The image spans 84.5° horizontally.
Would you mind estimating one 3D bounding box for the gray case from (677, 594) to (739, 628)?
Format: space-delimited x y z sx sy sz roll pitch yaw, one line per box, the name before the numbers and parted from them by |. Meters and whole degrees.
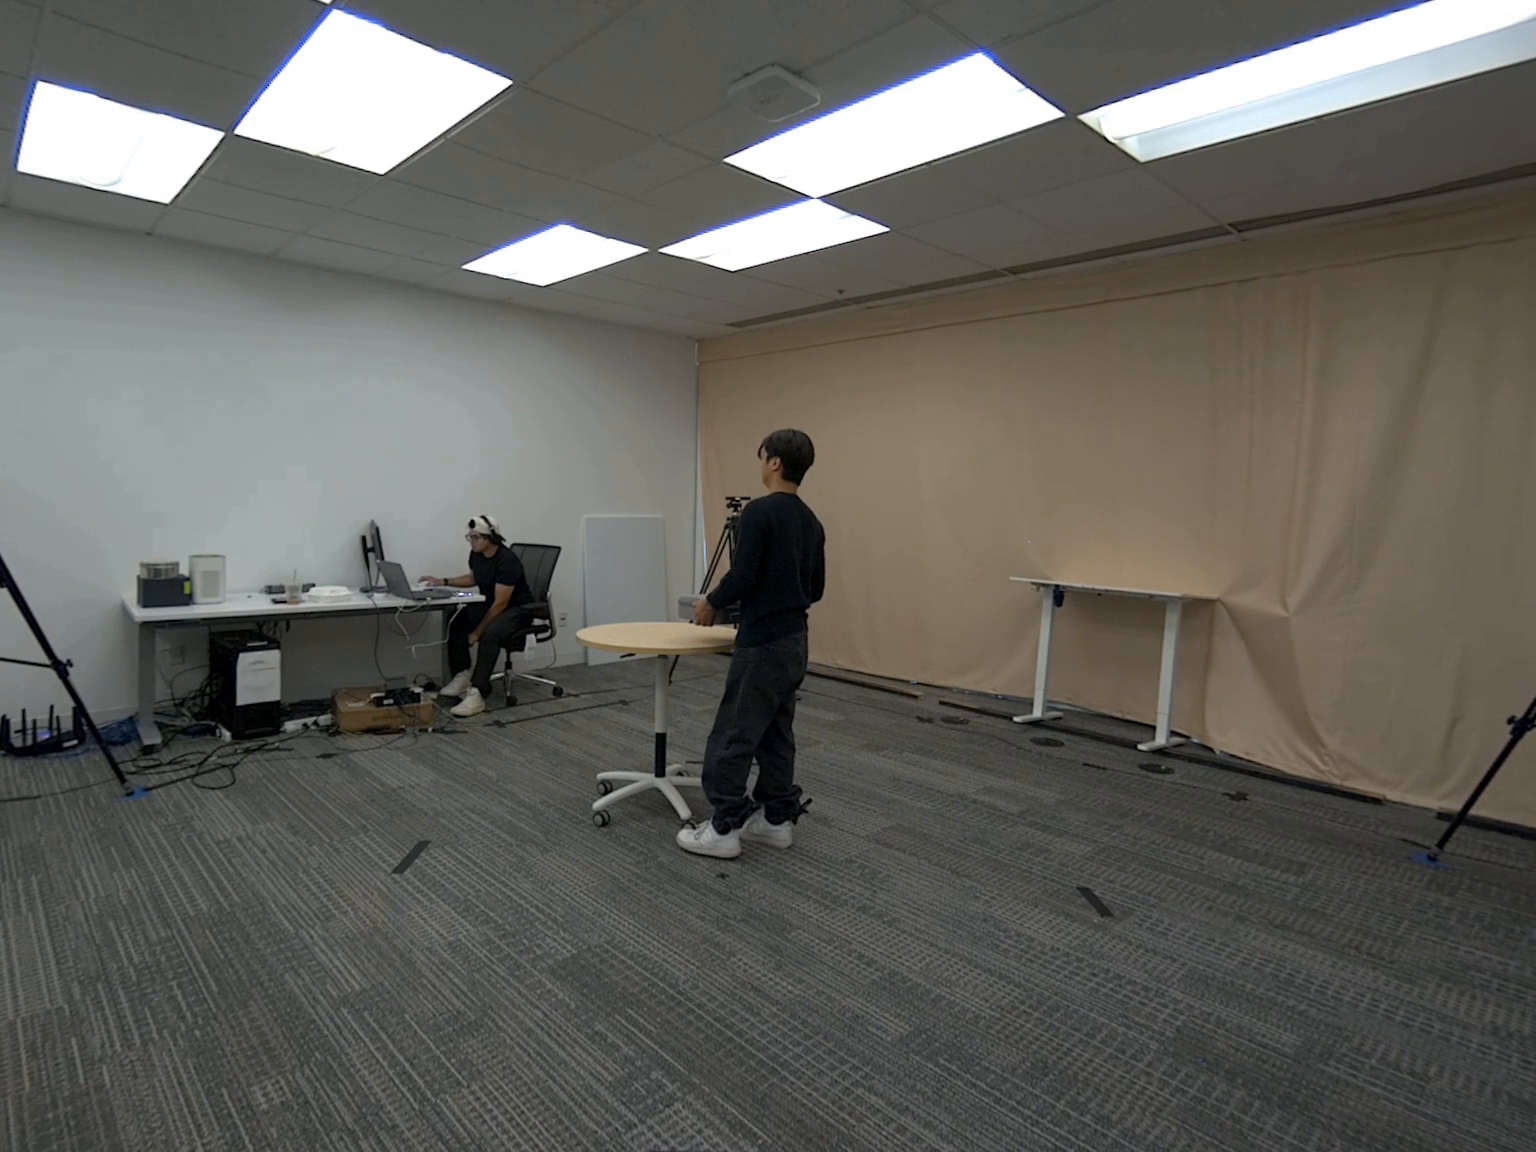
gray case | -0.221 0.136 3.571 0.267 0.104 0.251 7 4 40
